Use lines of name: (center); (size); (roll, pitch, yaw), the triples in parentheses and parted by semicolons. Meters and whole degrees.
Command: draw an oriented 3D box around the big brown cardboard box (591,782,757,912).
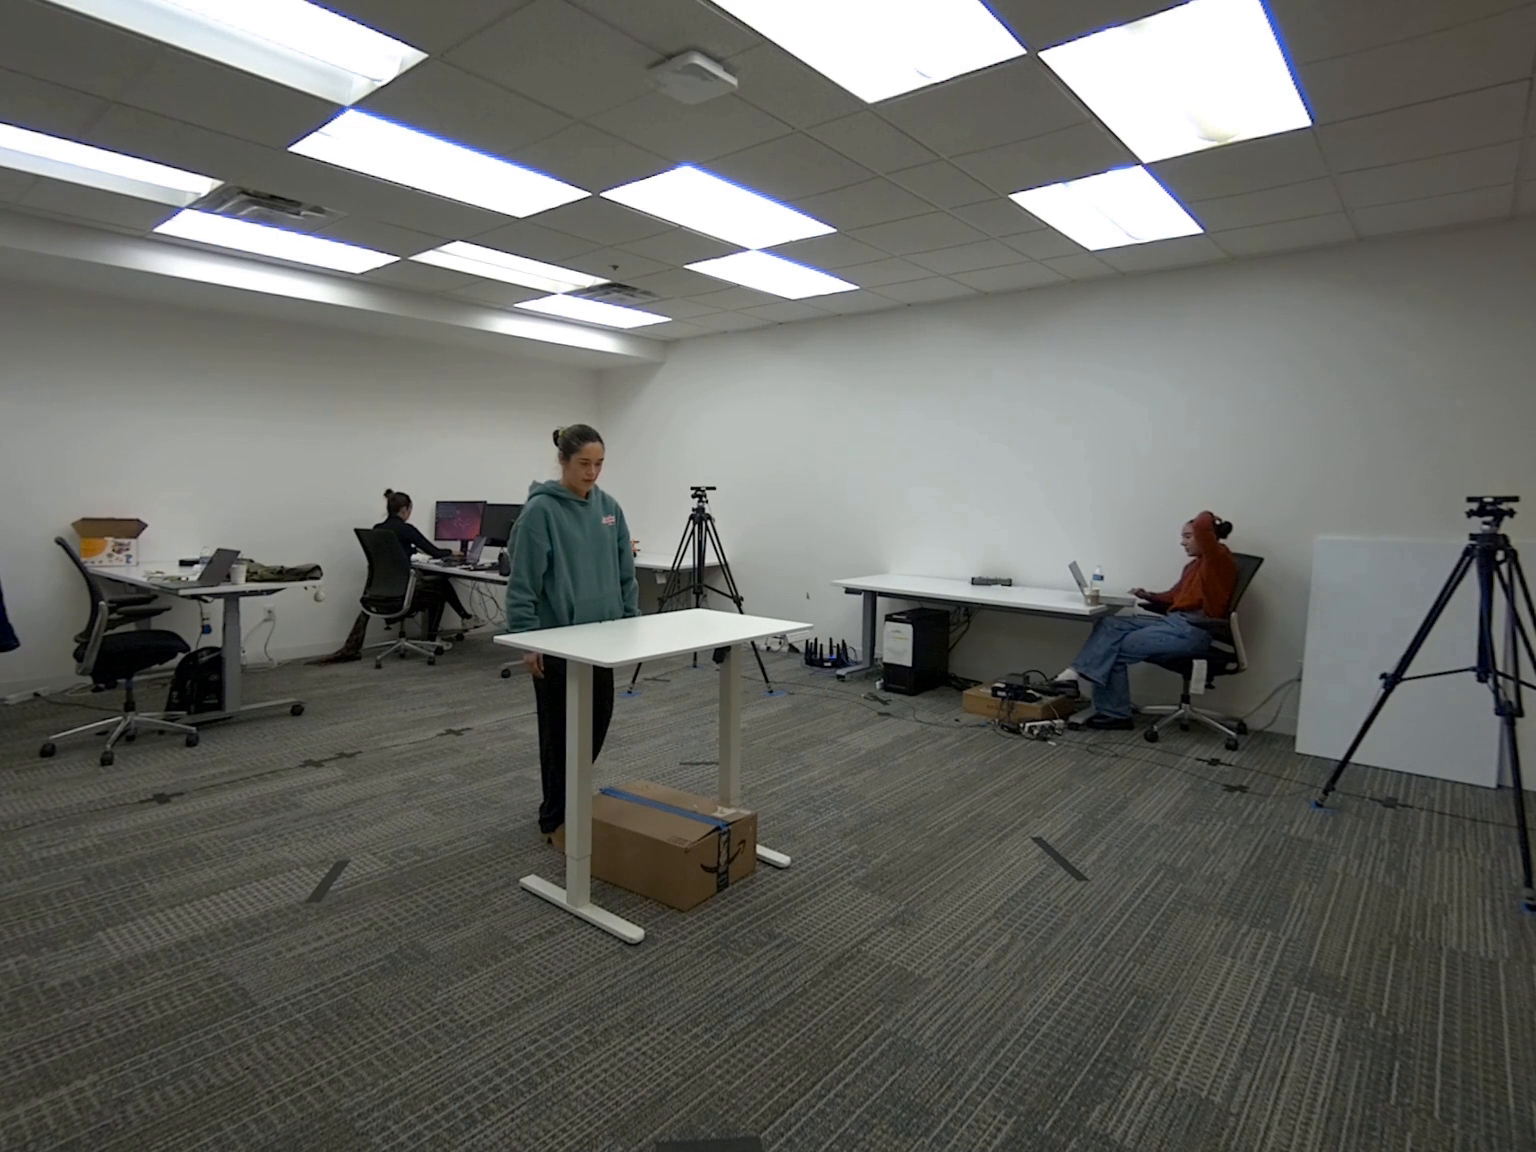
big brown cardboard box: (-0.397, 0.947, 3.086); (0.607, 0.232, 0.406); (3, 5, 34)
